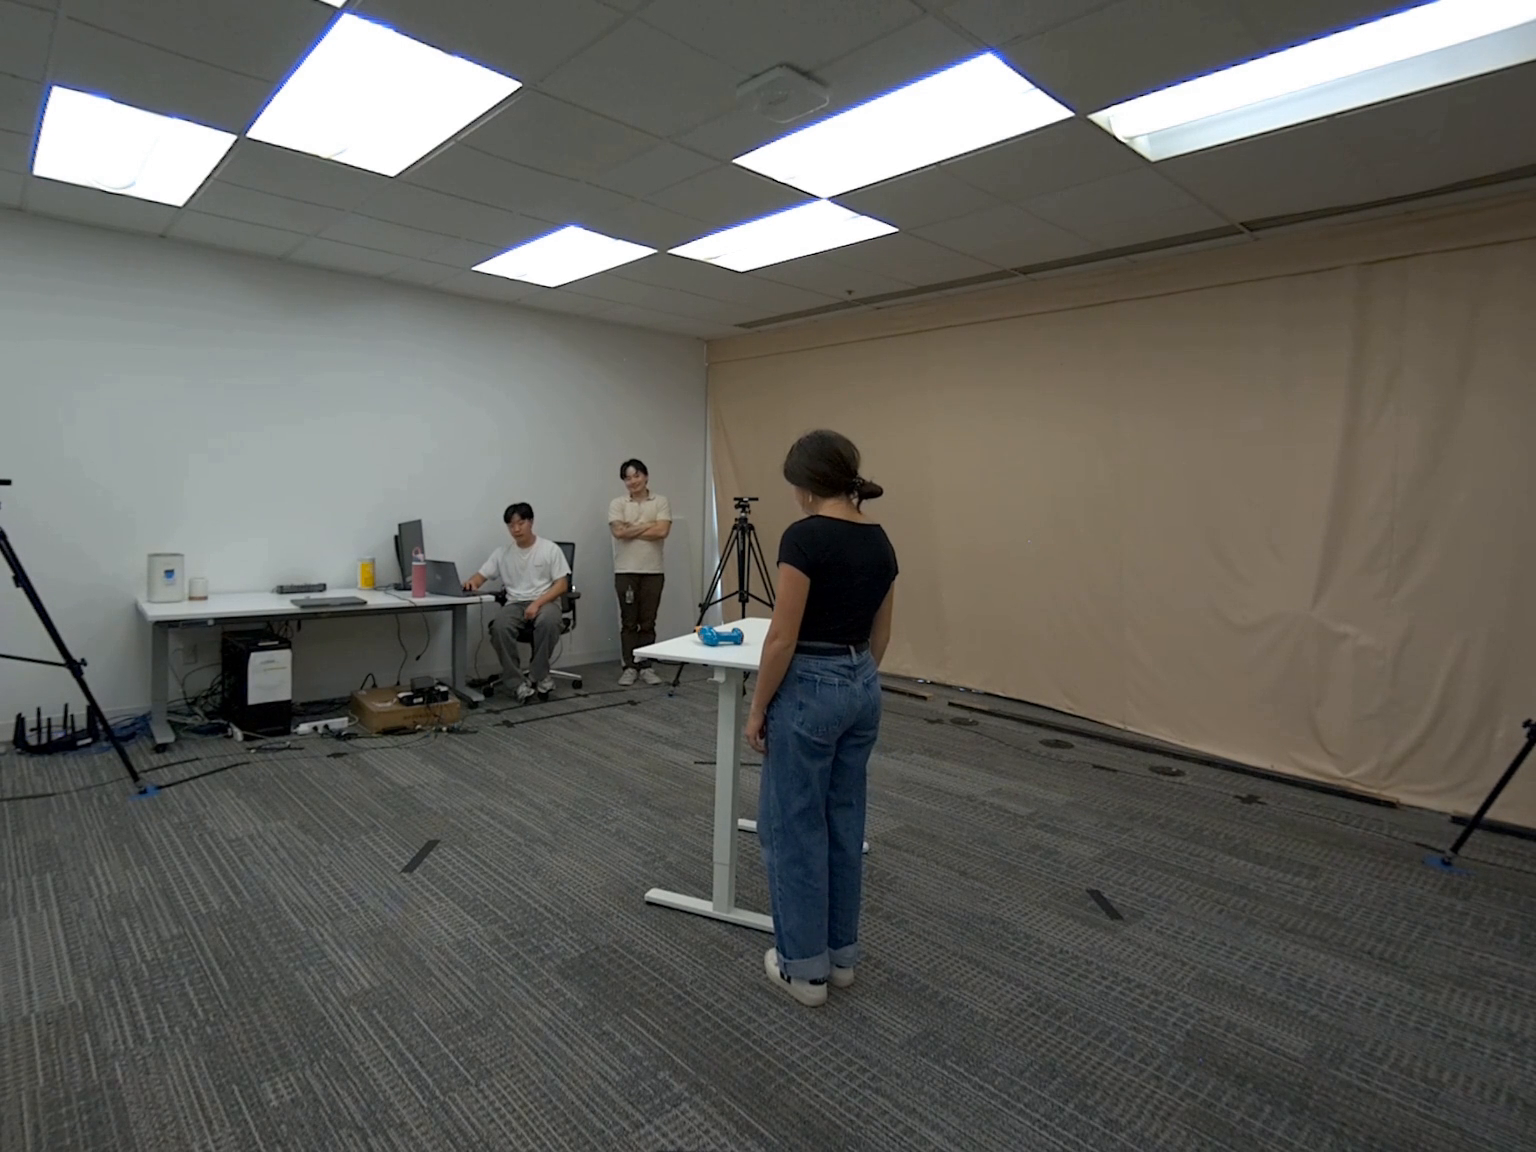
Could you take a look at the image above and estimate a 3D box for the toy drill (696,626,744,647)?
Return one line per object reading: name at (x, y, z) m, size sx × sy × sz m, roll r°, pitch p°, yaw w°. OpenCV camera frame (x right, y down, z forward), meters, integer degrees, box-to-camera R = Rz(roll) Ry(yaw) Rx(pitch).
toy drill at (-0.191, 0.208, 2.956) m, size 0.143 × 0.061 × 0.174 m, roll 1°, pitch 10°, yaw -29°
